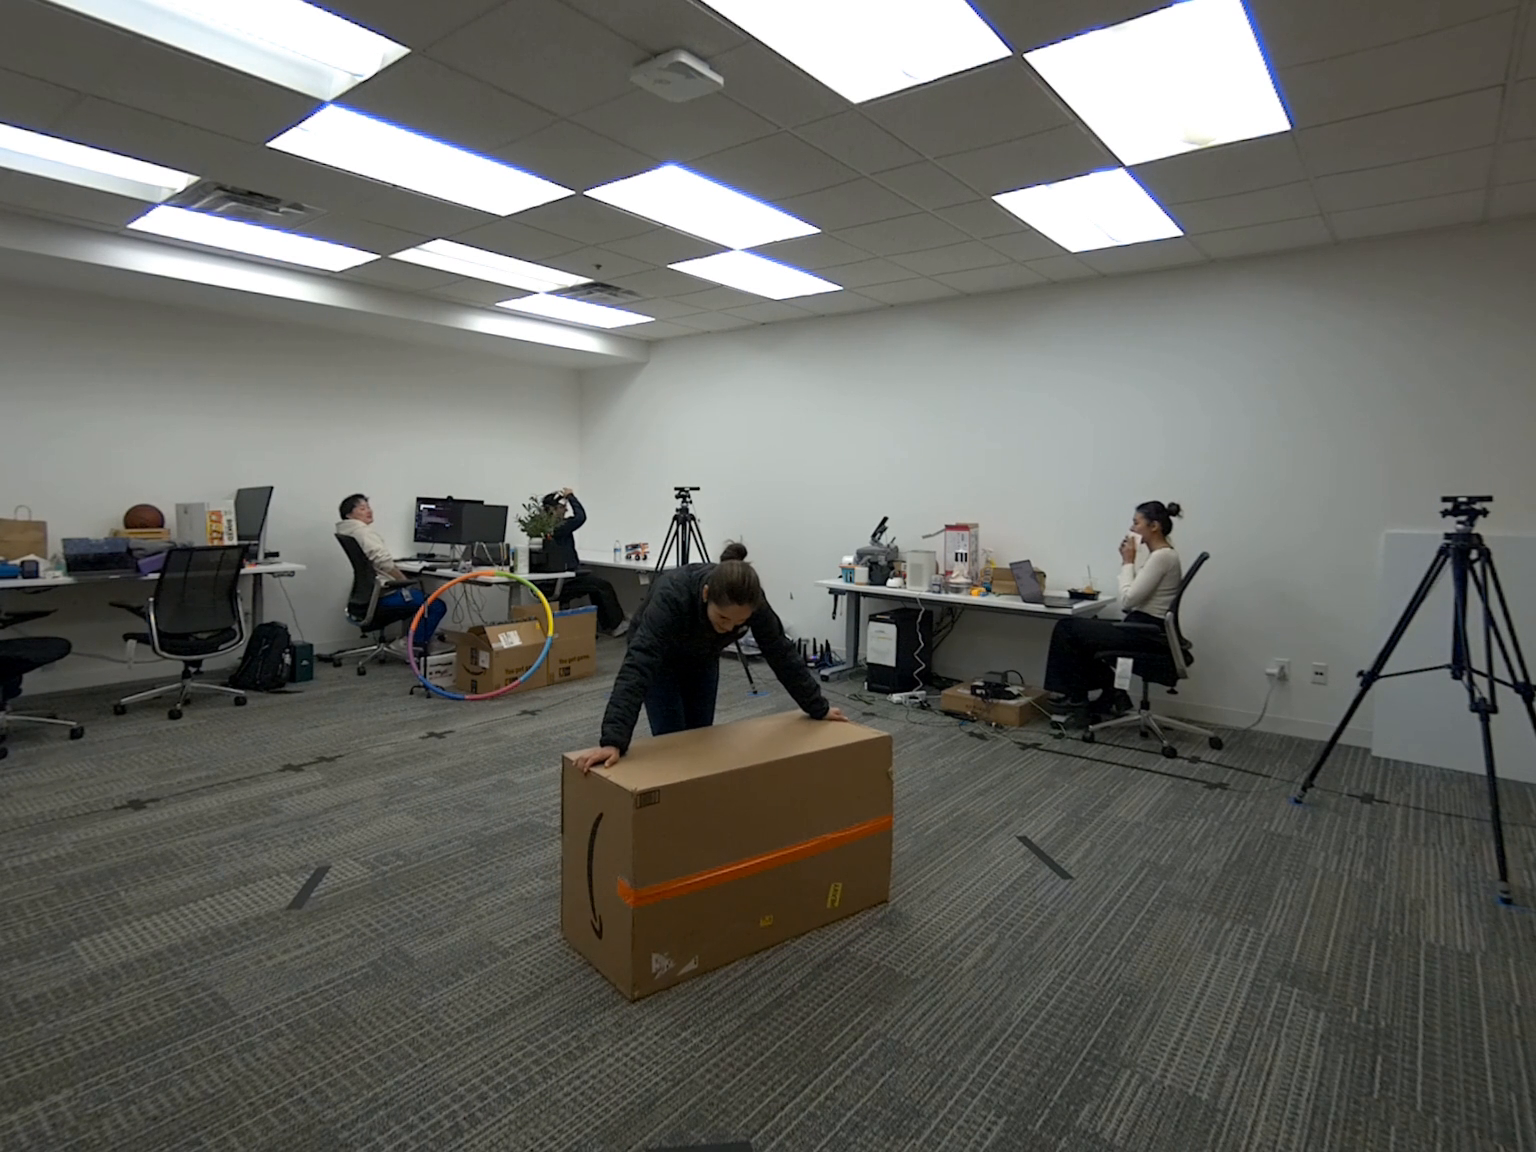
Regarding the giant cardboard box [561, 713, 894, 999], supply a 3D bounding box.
[{"bbox_3d":[-0.097,0.820,2.750,0.997,0.582,0.461,-3,4,-36],"label":"giant cardboard box"}]
